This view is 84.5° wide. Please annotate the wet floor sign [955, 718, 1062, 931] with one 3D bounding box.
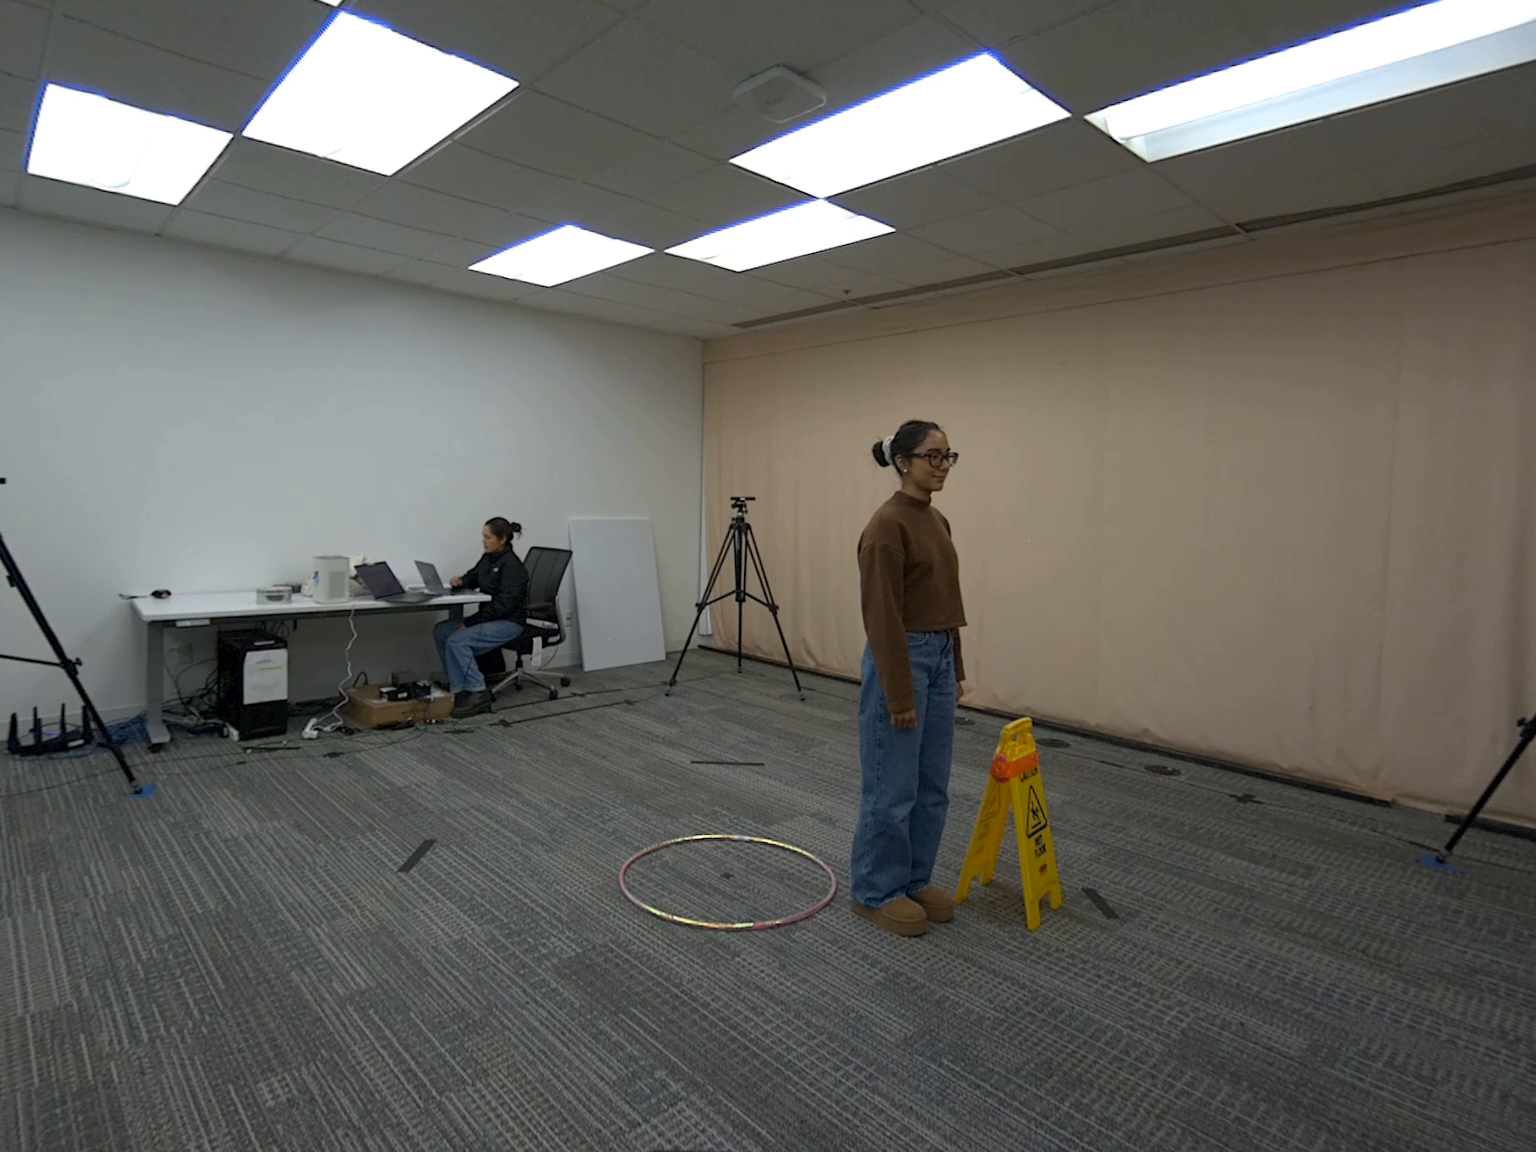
[{"bbox_3d":[0.852,0.826,2.930,0.297,0.644,0.276,4,5,39],"label":"wet floor sign"}]
